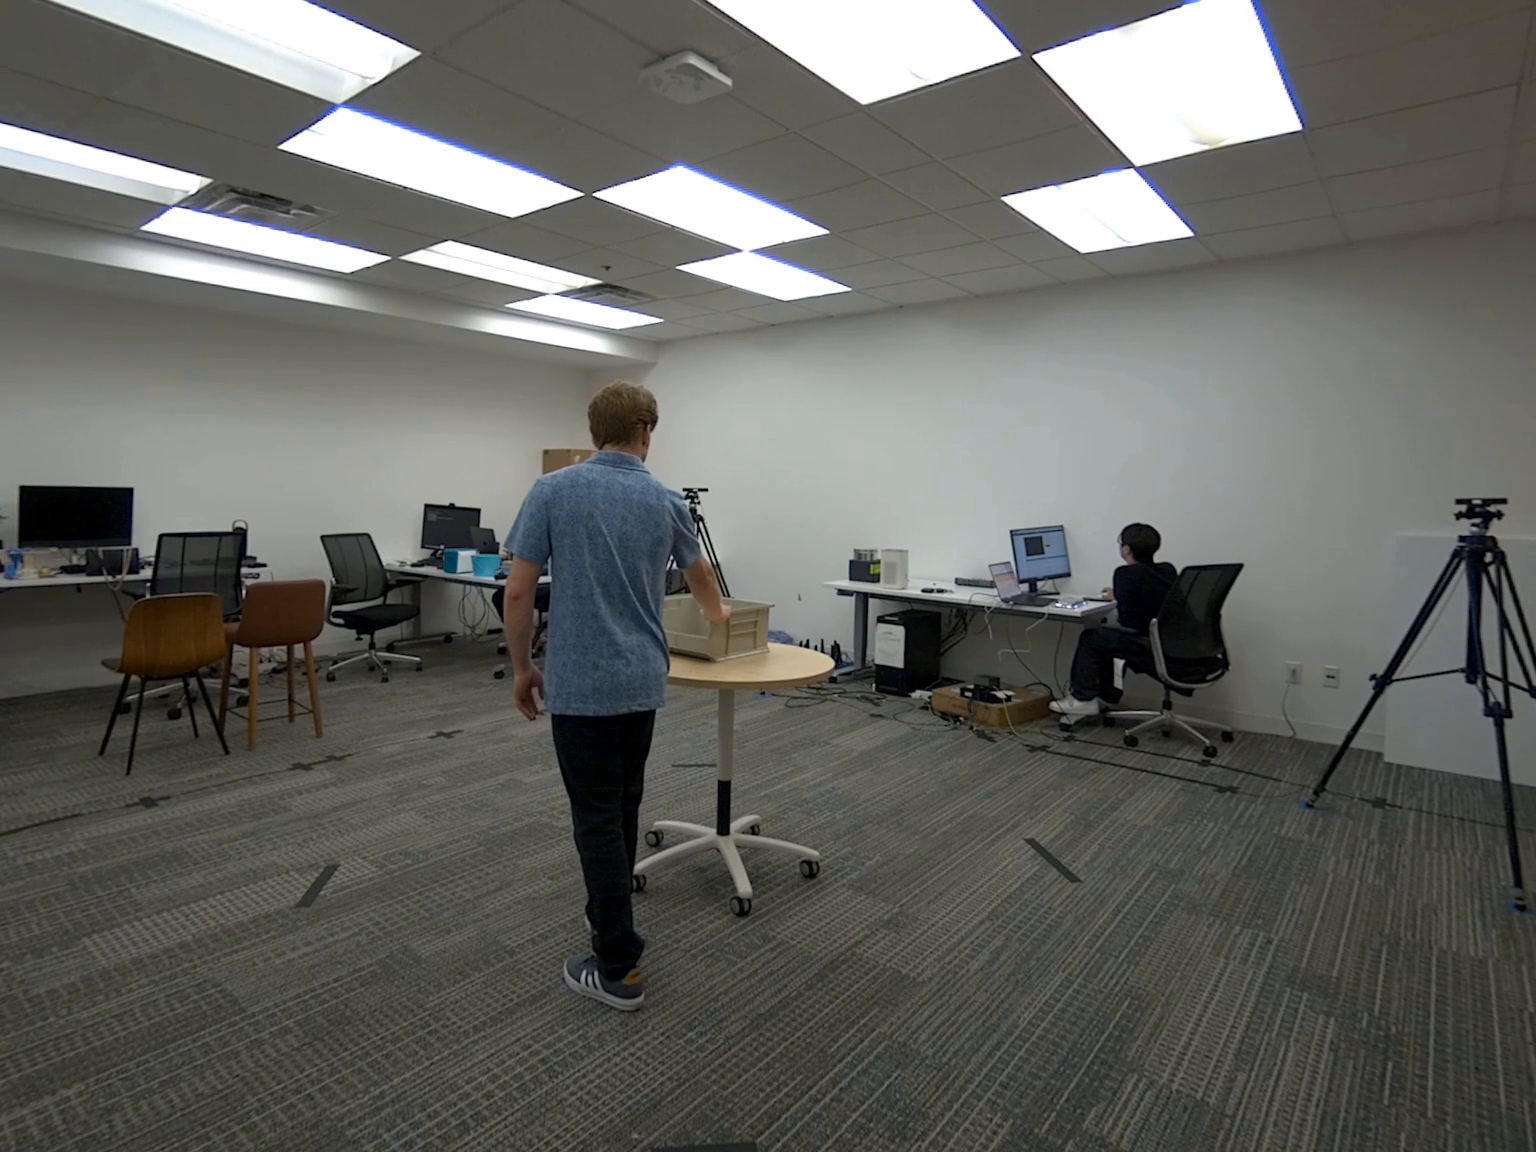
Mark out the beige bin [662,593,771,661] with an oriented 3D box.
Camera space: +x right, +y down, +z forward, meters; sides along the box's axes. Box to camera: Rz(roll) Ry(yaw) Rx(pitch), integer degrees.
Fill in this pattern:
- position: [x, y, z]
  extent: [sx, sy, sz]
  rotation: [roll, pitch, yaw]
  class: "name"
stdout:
- position: [-0.266, 0.188, 3.202]
  extent: [0.436, 0.188, 0.366]
  rotation: [5, 5, 39]
  class: "beige bin"
